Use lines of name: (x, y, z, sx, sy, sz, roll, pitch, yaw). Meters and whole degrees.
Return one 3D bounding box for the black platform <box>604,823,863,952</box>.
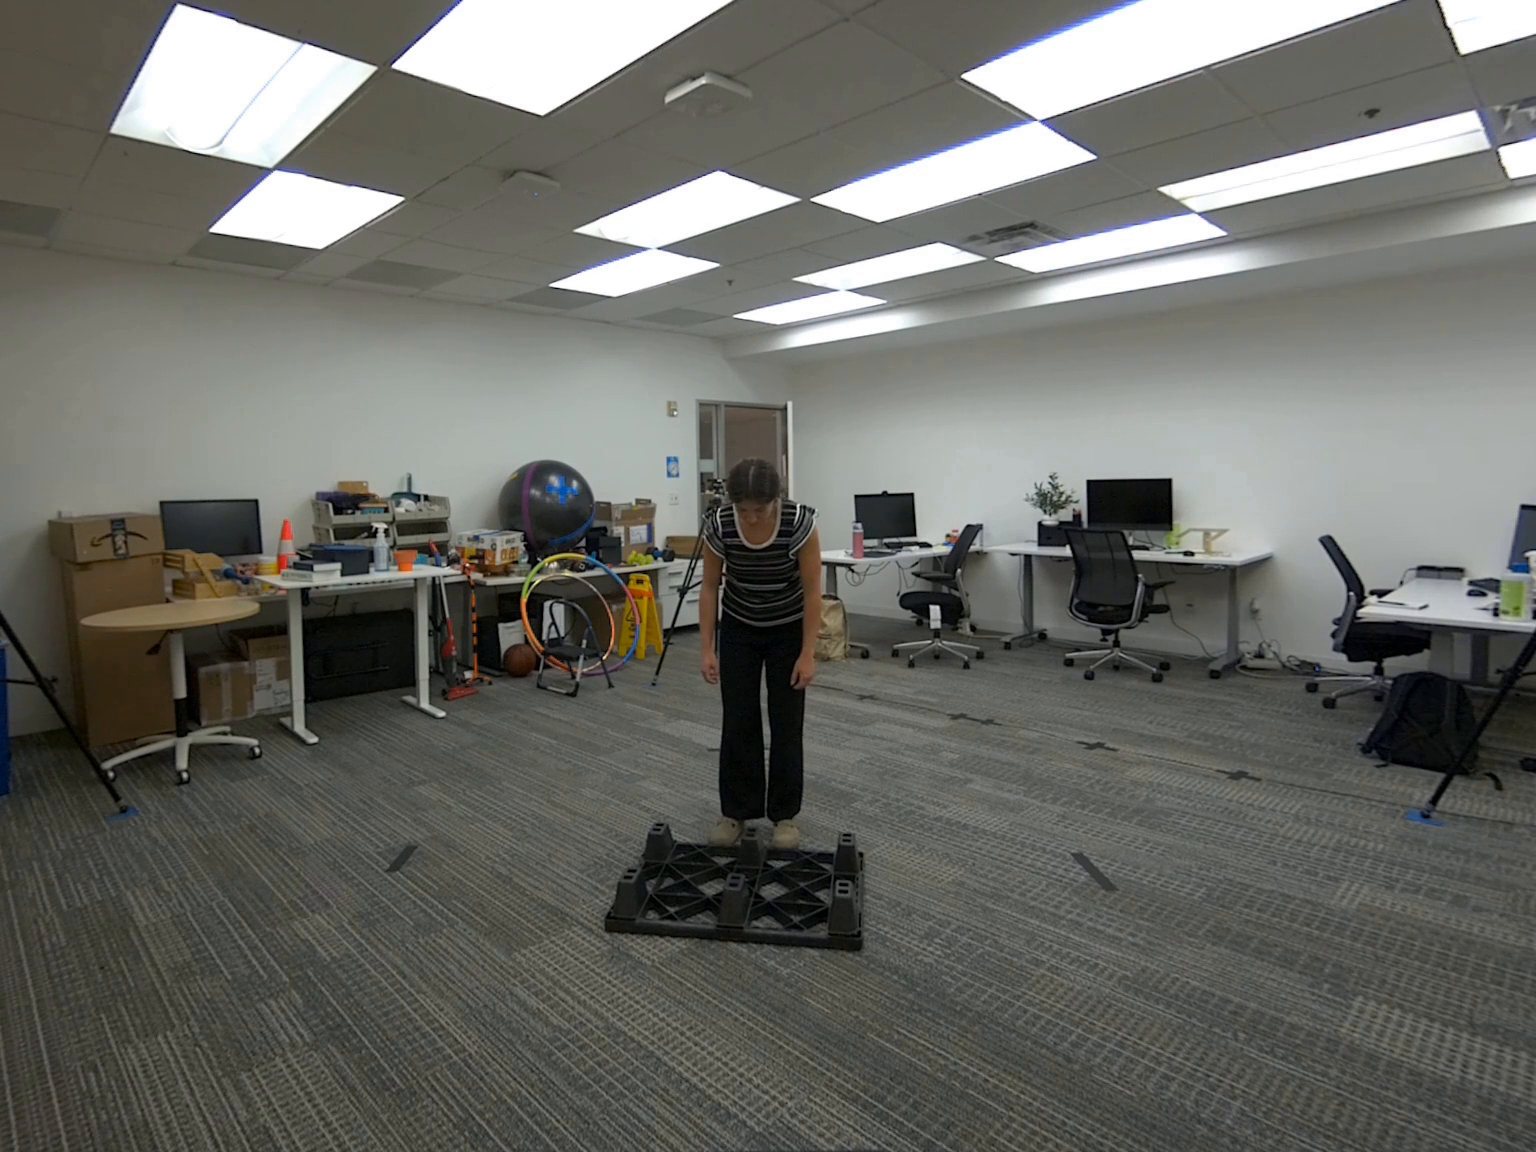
black platform: (-0.084, 1.005, 2.869, 0.813, 0.143, 0.603, 0, 6, 8)
